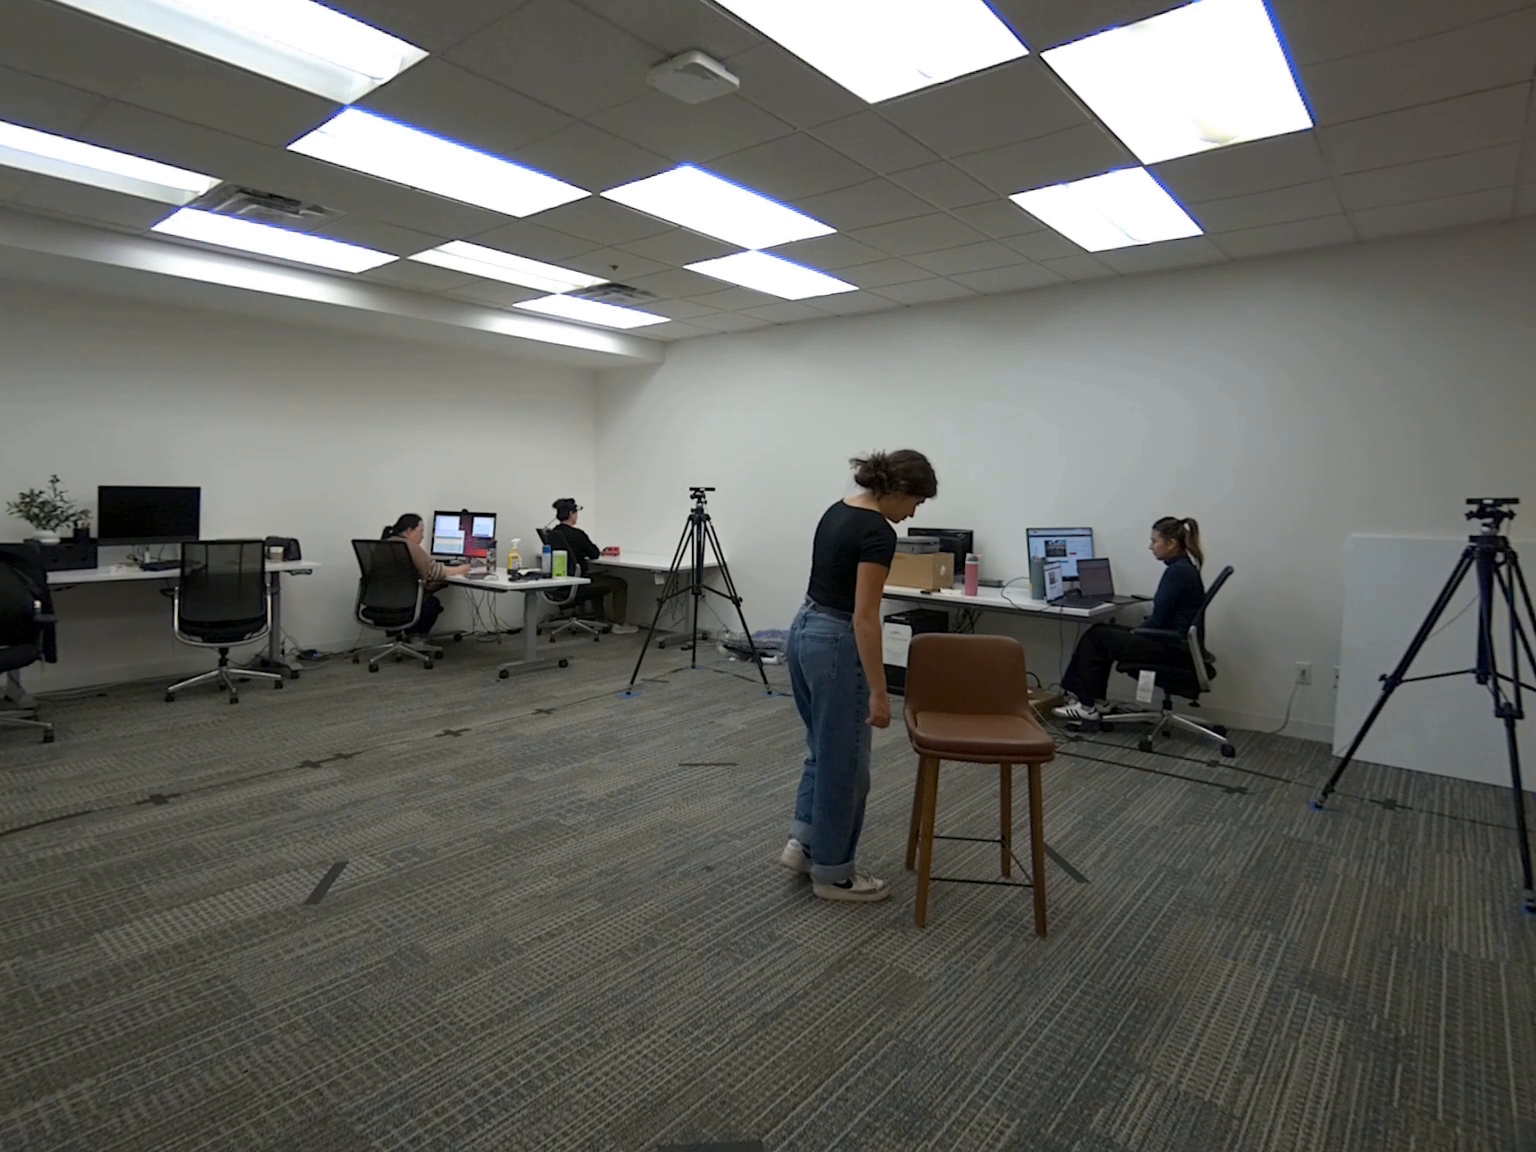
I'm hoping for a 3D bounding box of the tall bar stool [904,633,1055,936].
[{"bbox_3d":[0.697,0.676,2.901,0.459,0.888,0.465,2,2,5],"label":"tall bar stool"}]
